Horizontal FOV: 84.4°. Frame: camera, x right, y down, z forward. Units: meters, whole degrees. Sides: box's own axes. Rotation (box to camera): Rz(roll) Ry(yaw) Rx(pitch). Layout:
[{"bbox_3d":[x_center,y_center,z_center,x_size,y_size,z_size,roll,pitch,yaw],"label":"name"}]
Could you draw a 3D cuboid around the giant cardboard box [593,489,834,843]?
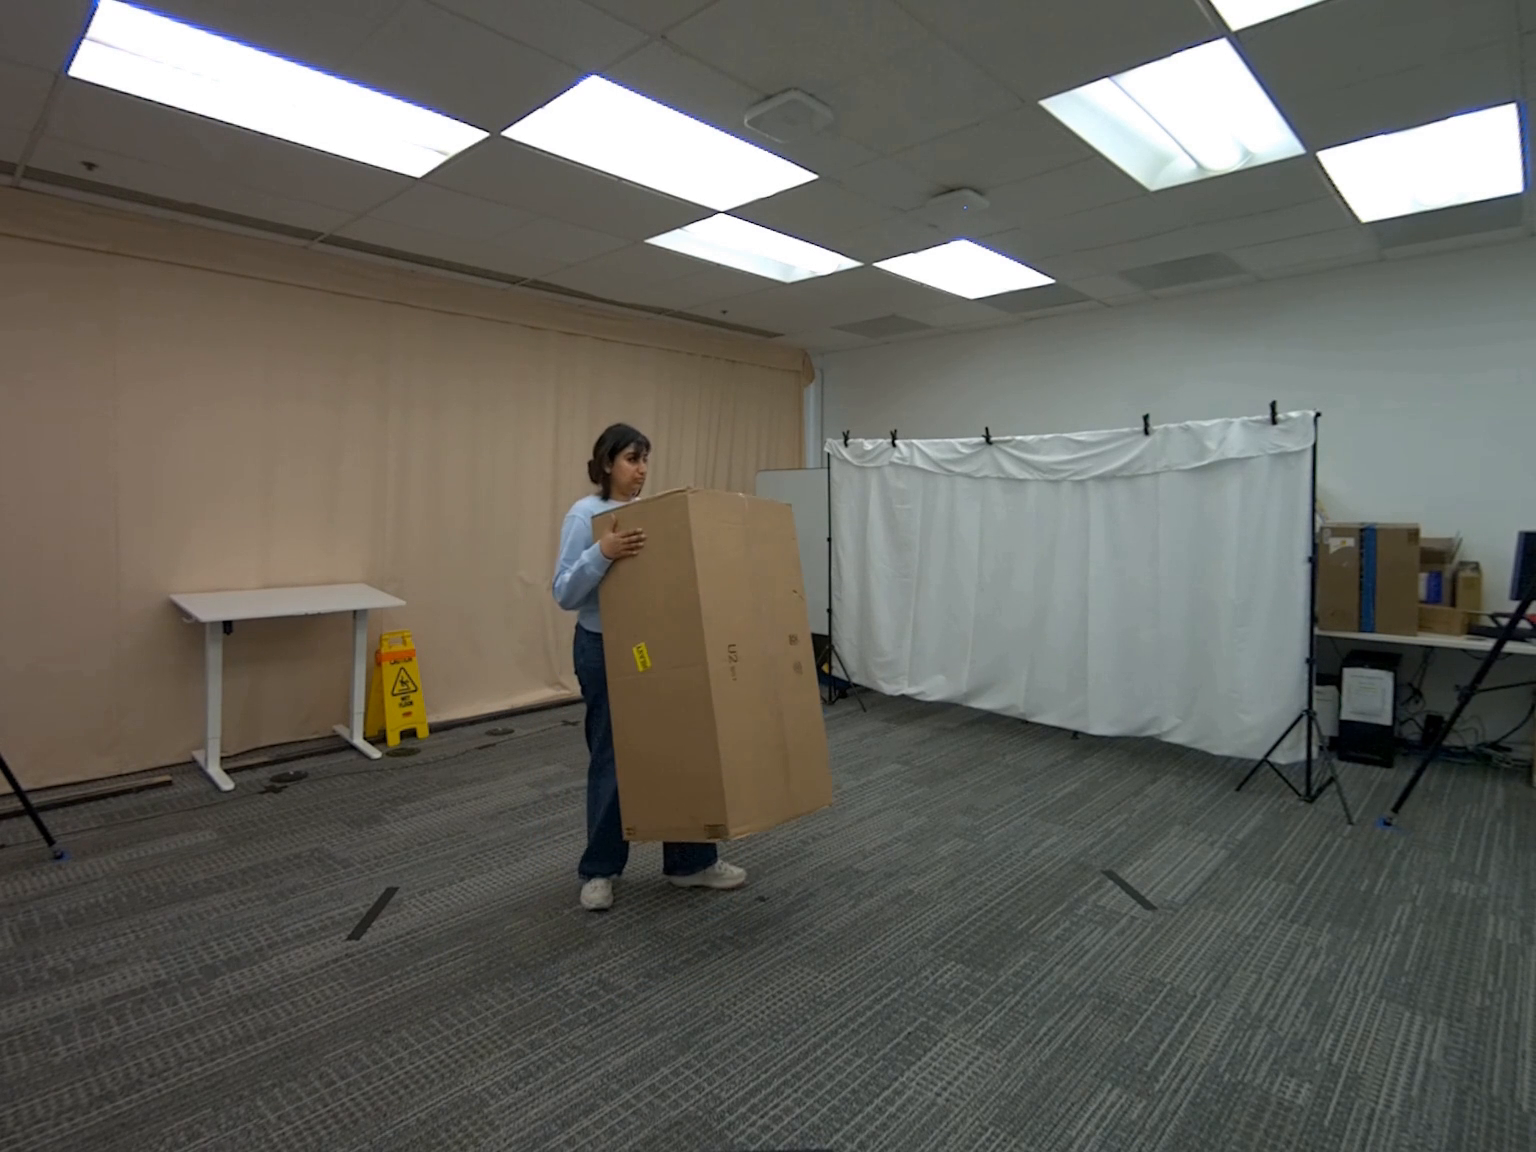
[{"bbox_3d":[-0.168,0.282,2.752,0.458,1.035,0.565,-15,-12,37],"label":"giant cardboard box"}]
